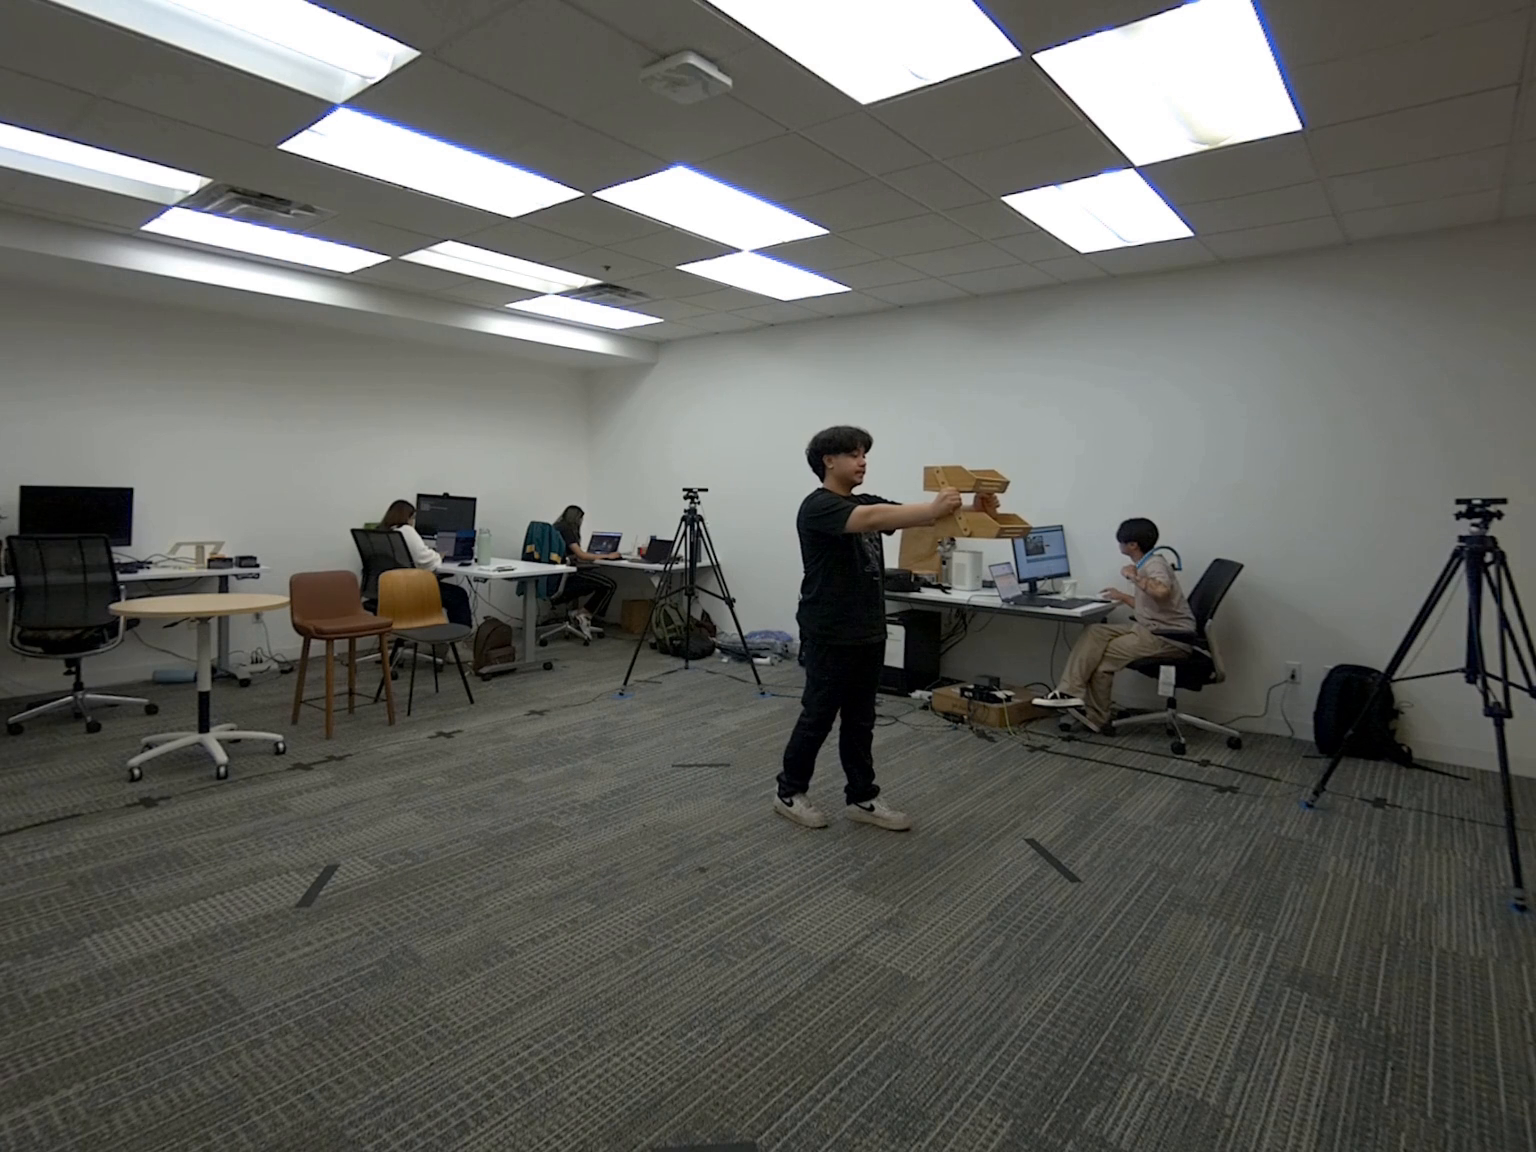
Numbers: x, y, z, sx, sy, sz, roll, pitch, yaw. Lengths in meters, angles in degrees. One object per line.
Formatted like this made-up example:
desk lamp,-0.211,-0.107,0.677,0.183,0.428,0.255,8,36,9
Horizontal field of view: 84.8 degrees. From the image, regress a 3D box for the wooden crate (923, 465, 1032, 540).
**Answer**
wooden crate,0.791,-0.283,3.200,0.312,0.273,0.315,4,4,39
